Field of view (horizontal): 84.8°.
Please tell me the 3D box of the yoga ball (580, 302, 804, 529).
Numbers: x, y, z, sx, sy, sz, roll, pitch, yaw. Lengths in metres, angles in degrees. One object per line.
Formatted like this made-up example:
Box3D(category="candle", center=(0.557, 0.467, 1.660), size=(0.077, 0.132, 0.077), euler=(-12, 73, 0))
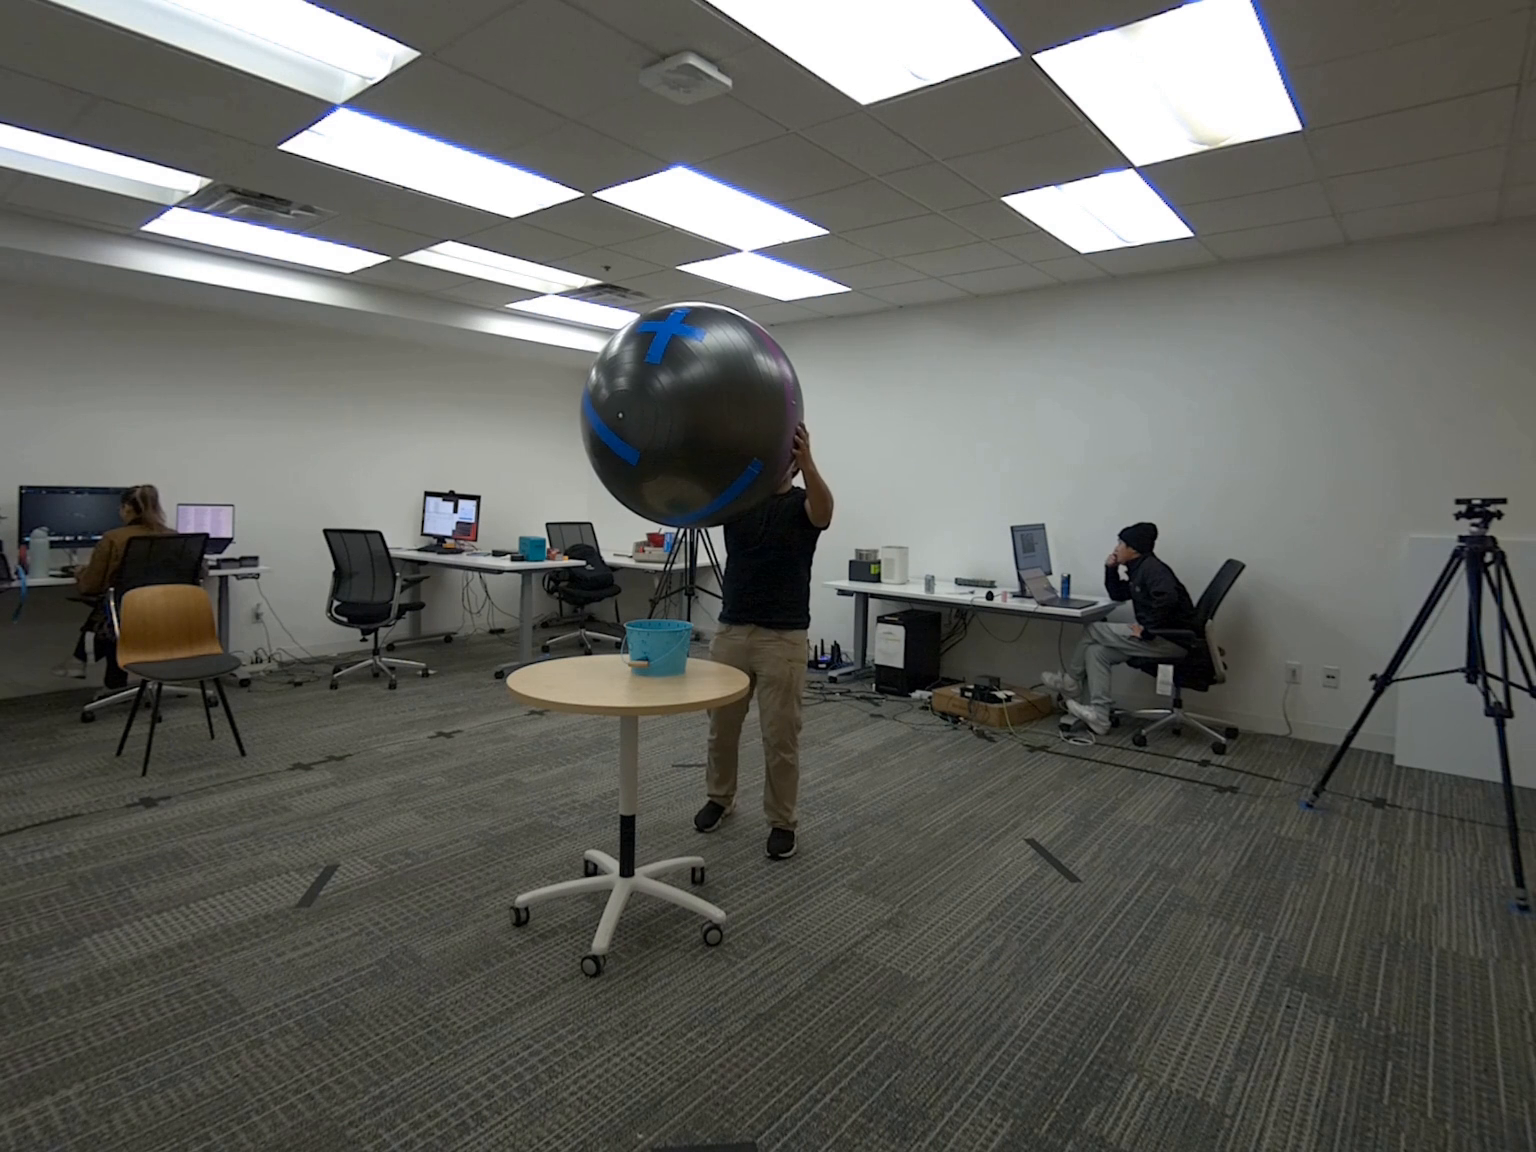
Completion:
Box3D(category="yoga ball", center=(-0.266, -0.536, 2.887), size=(0.757, 0.755, 0.762), euler=(1, 4, -2))
